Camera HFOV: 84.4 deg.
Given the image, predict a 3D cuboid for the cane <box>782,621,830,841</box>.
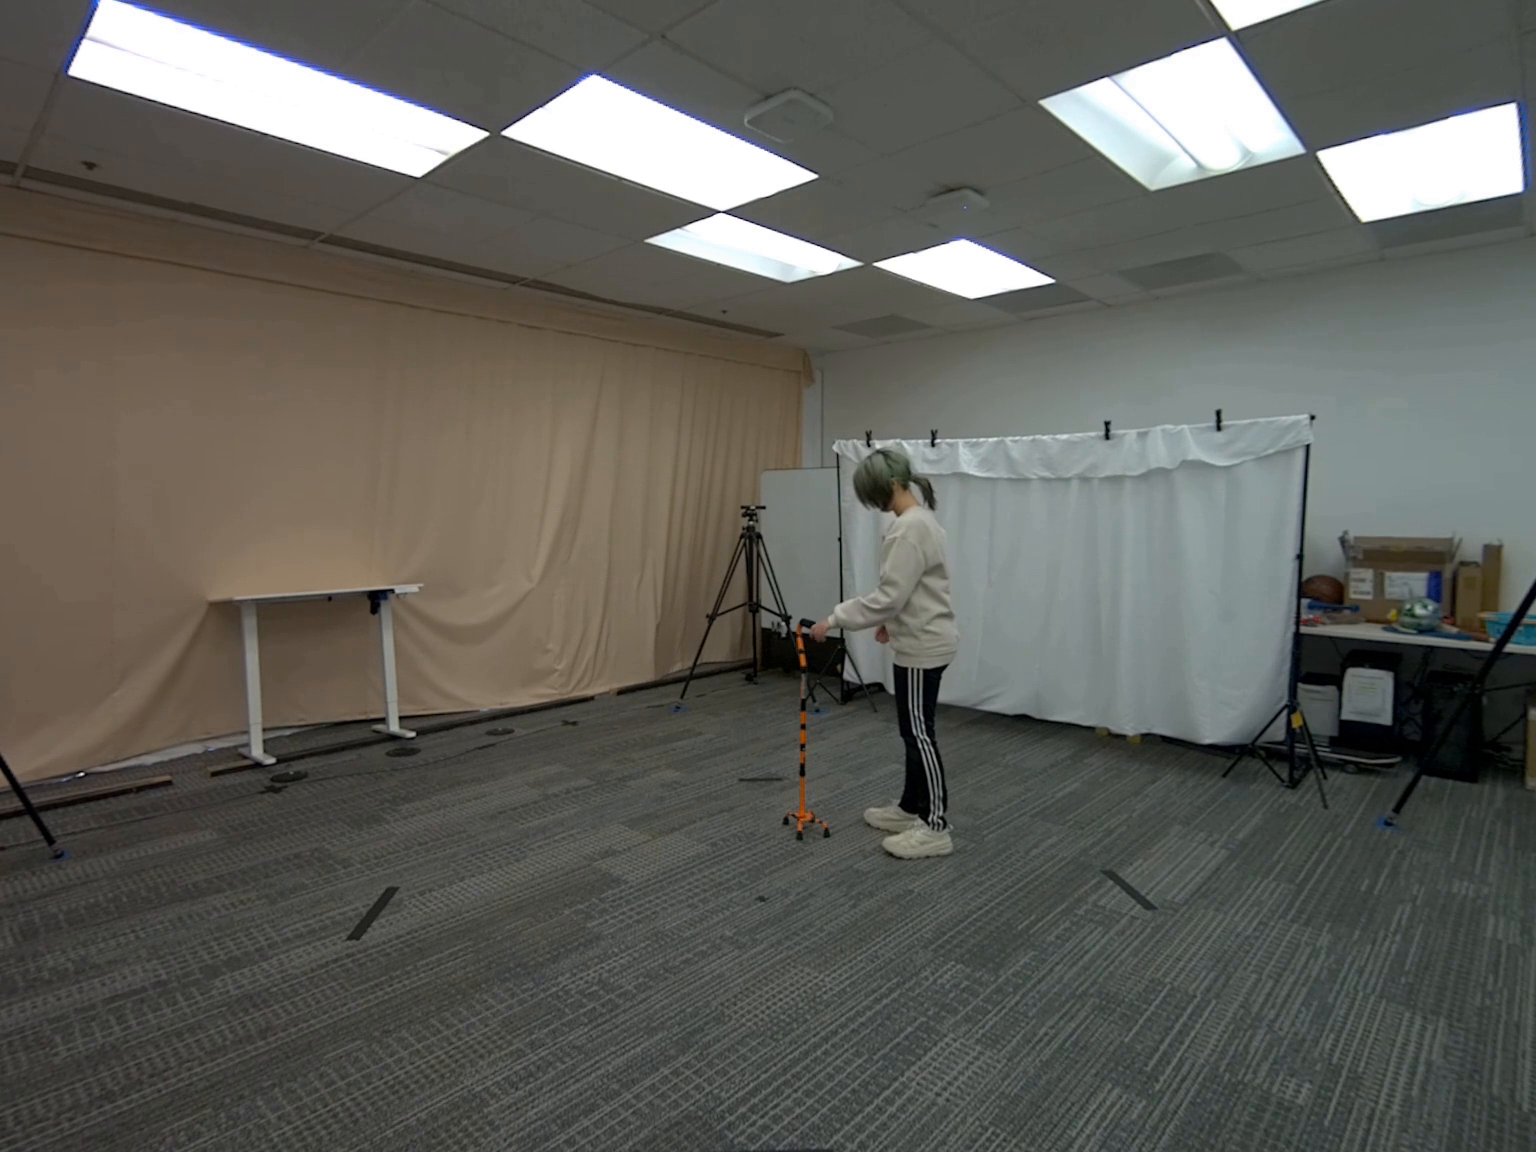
[{"bbox_3d":[0.167,0.639,3.591,0.149,0.906,0.211,-1,3,-19],"label":"cane"}]
